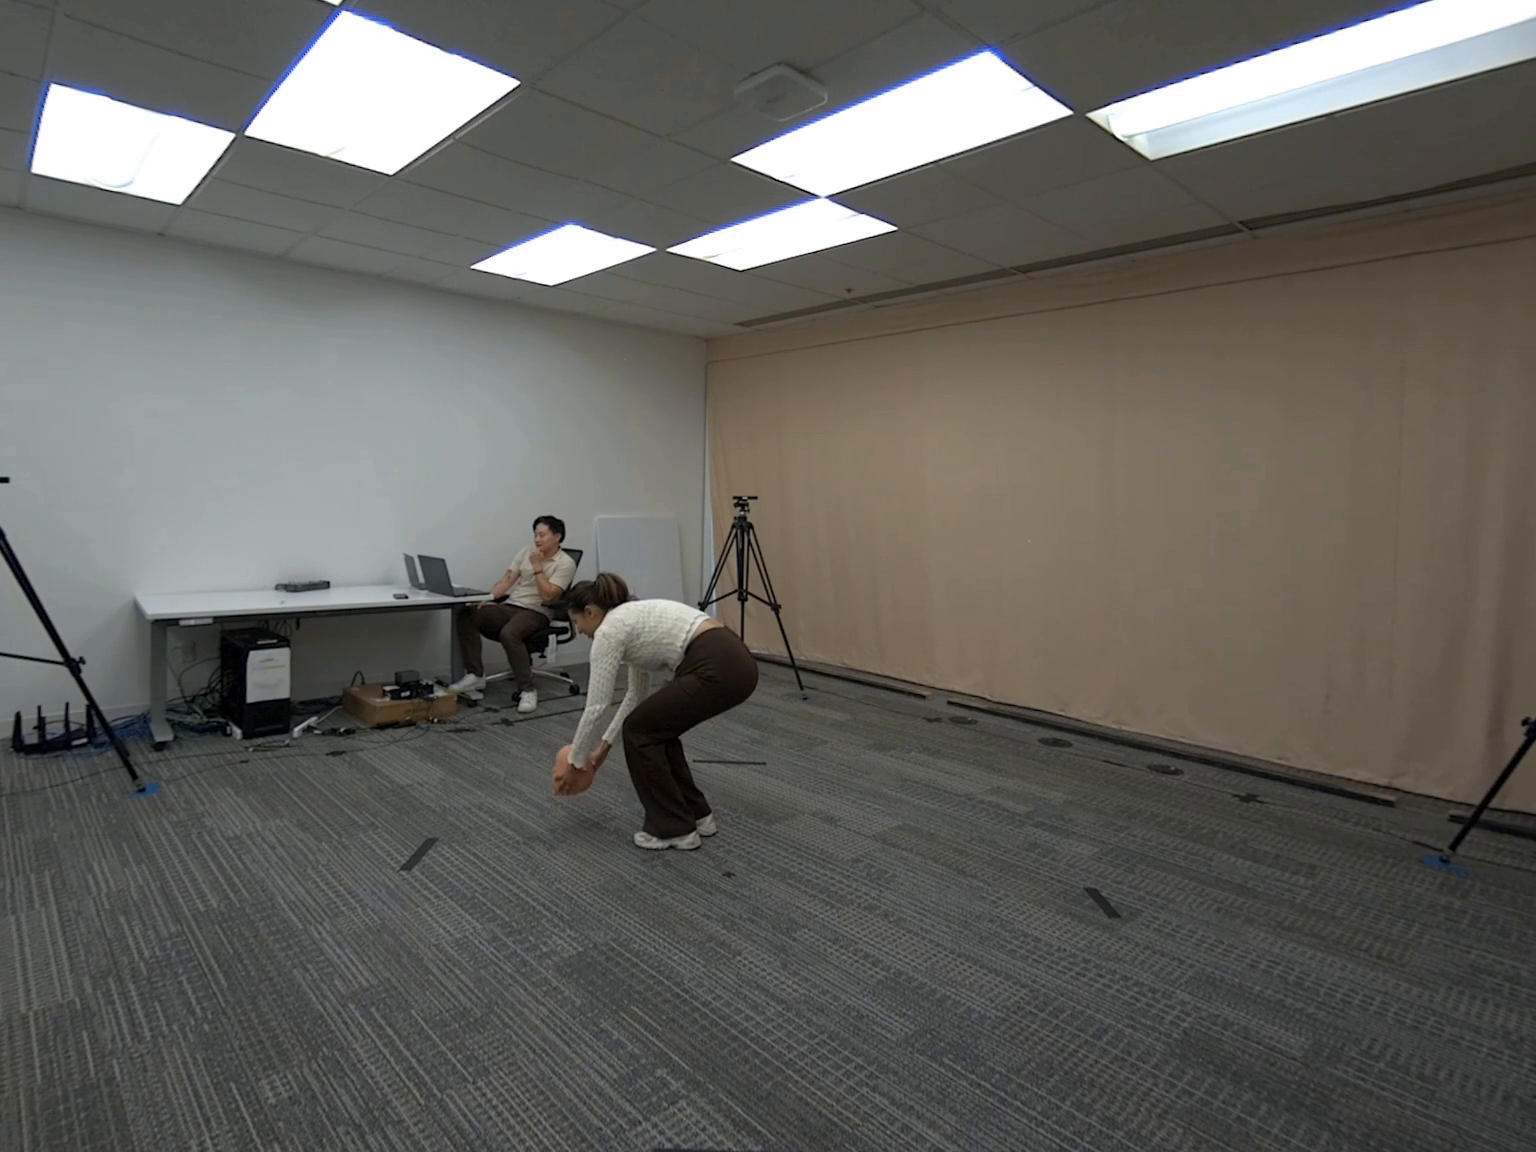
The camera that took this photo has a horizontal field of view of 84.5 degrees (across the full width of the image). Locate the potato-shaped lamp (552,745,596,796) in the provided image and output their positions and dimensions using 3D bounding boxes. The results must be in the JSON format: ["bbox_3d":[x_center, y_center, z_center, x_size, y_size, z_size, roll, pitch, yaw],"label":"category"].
[{"bbox_3d":[-0.819,0.787,3.508,0.174,0.197,0.162,-4,6,26],"label":"potato-shaped lamp"}]
